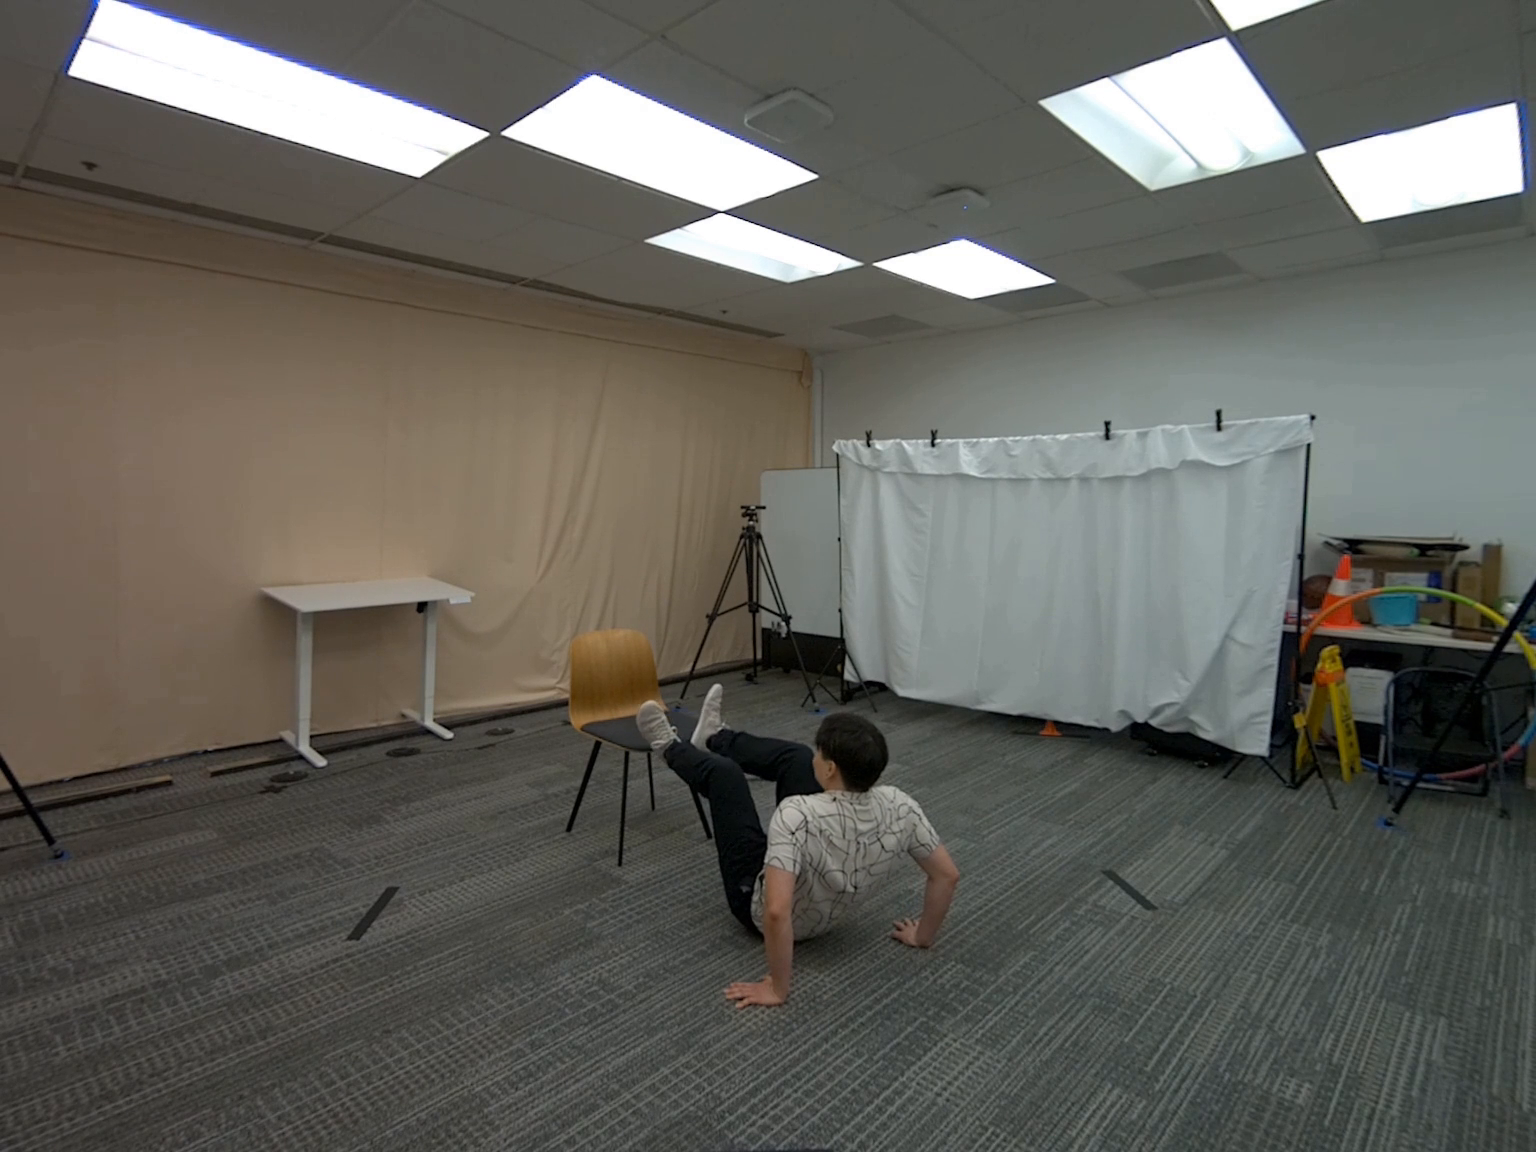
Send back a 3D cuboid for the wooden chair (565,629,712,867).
[{"bbox_3d":[-0.547,0.673,3.537,0.463,0.878,0.539,-2,-1,-39],"label":"wooden chair"}]
